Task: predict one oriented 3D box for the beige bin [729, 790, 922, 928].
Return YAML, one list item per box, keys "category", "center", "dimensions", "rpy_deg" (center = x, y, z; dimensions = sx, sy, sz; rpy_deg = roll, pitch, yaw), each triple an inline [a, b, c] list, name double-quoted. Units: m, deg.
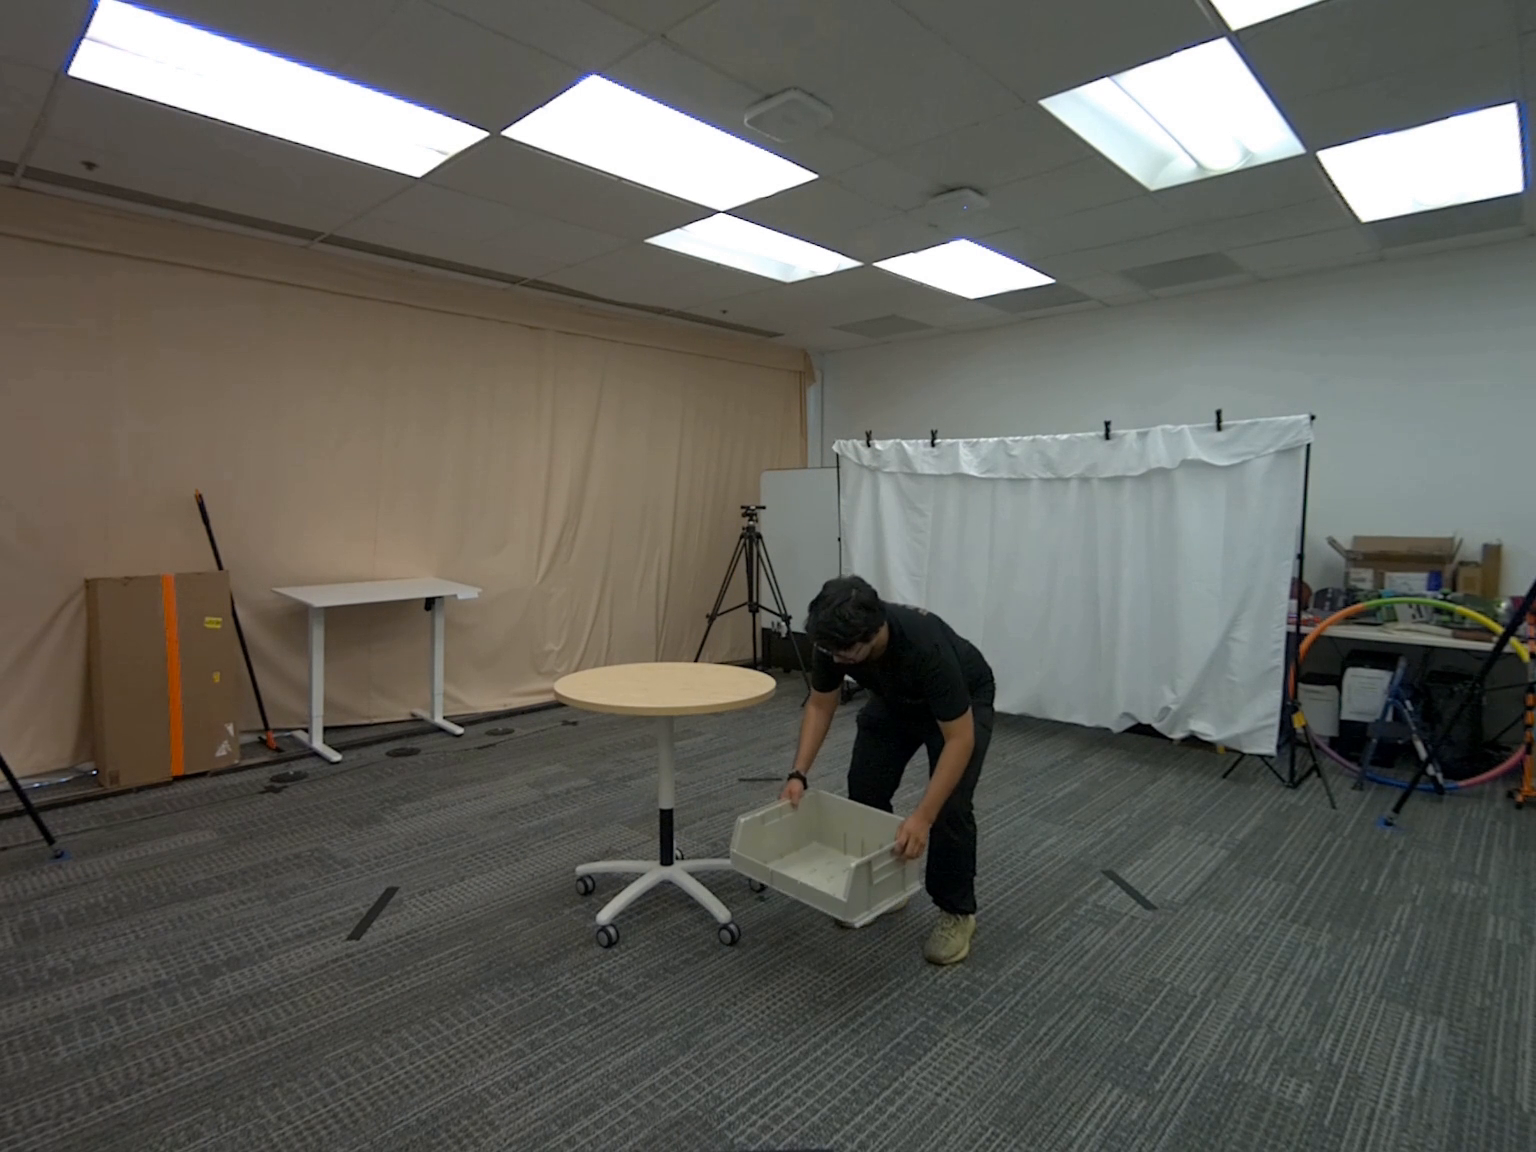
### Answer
- category: "beige bin"
  center: [0.174, 0.787, 2.410]
  dimensions: [0.436, 0.188, 0.366]
  rpy_deg: [5, 7, 44]
